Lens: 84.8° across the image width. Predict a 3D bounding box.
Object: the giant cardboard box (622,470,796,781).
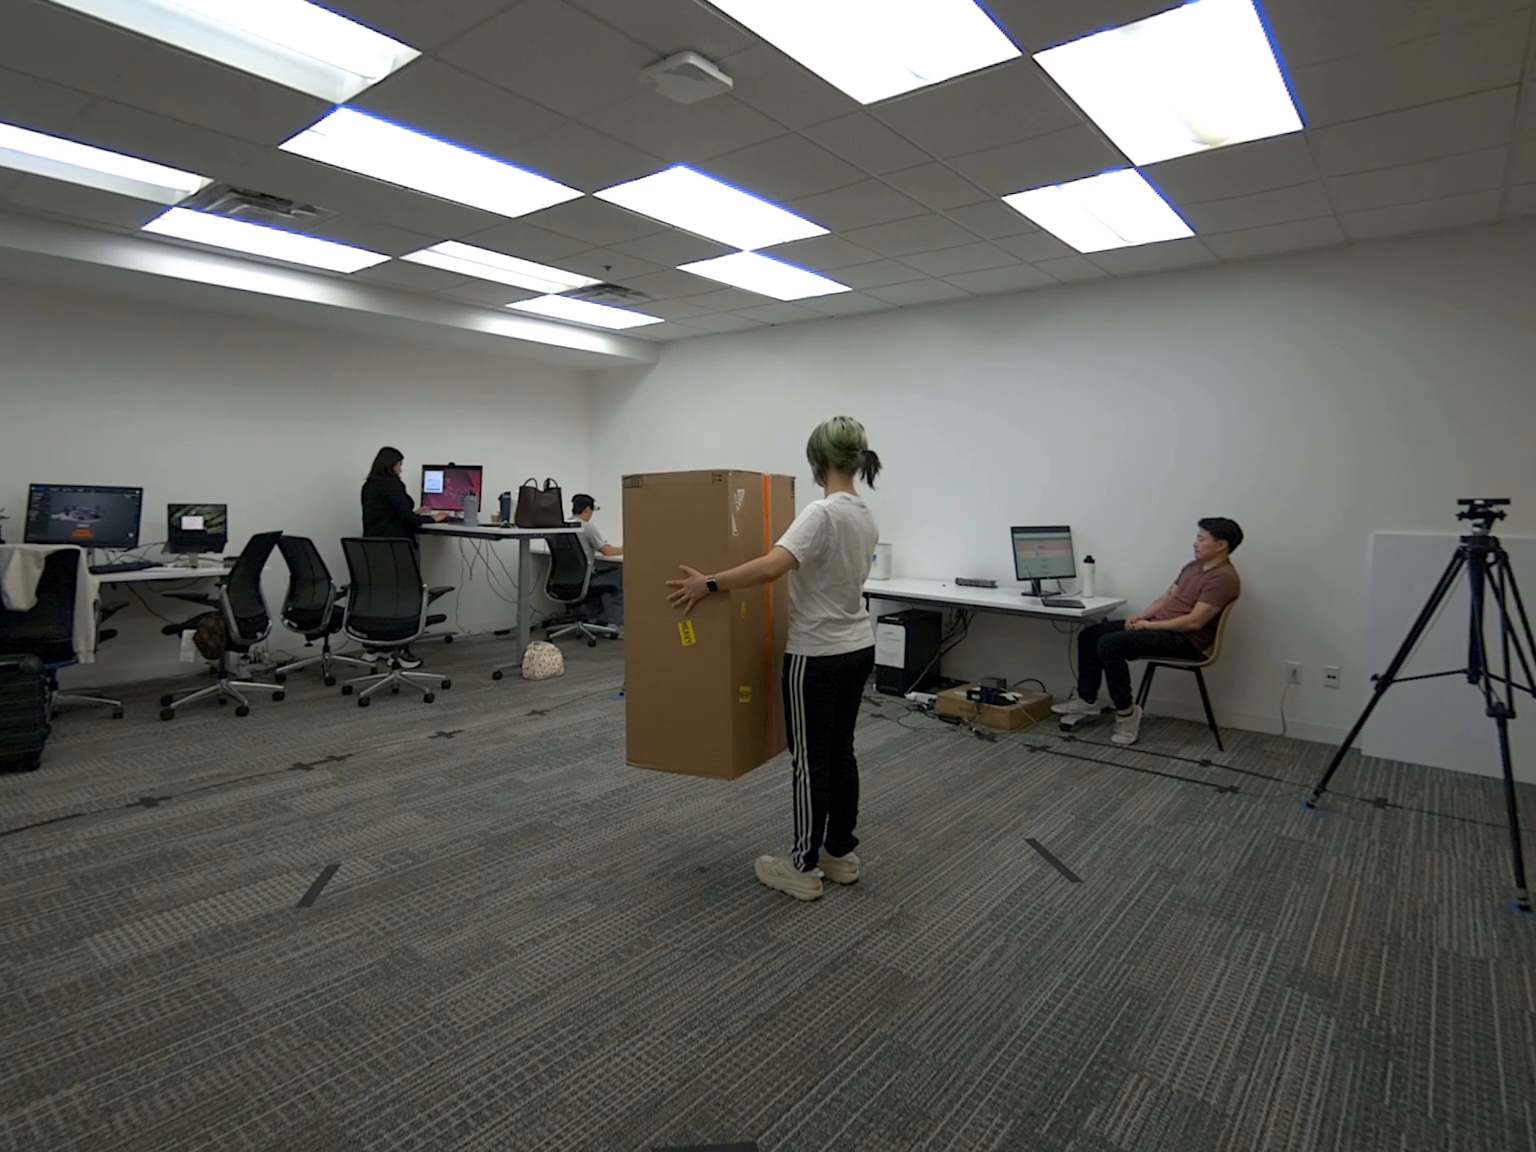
[{"bbox_3d":[-0.201,0.141,3.130,0.437,1.025,0.563,-1,1,27],"label":"giant cardboard box"}]
